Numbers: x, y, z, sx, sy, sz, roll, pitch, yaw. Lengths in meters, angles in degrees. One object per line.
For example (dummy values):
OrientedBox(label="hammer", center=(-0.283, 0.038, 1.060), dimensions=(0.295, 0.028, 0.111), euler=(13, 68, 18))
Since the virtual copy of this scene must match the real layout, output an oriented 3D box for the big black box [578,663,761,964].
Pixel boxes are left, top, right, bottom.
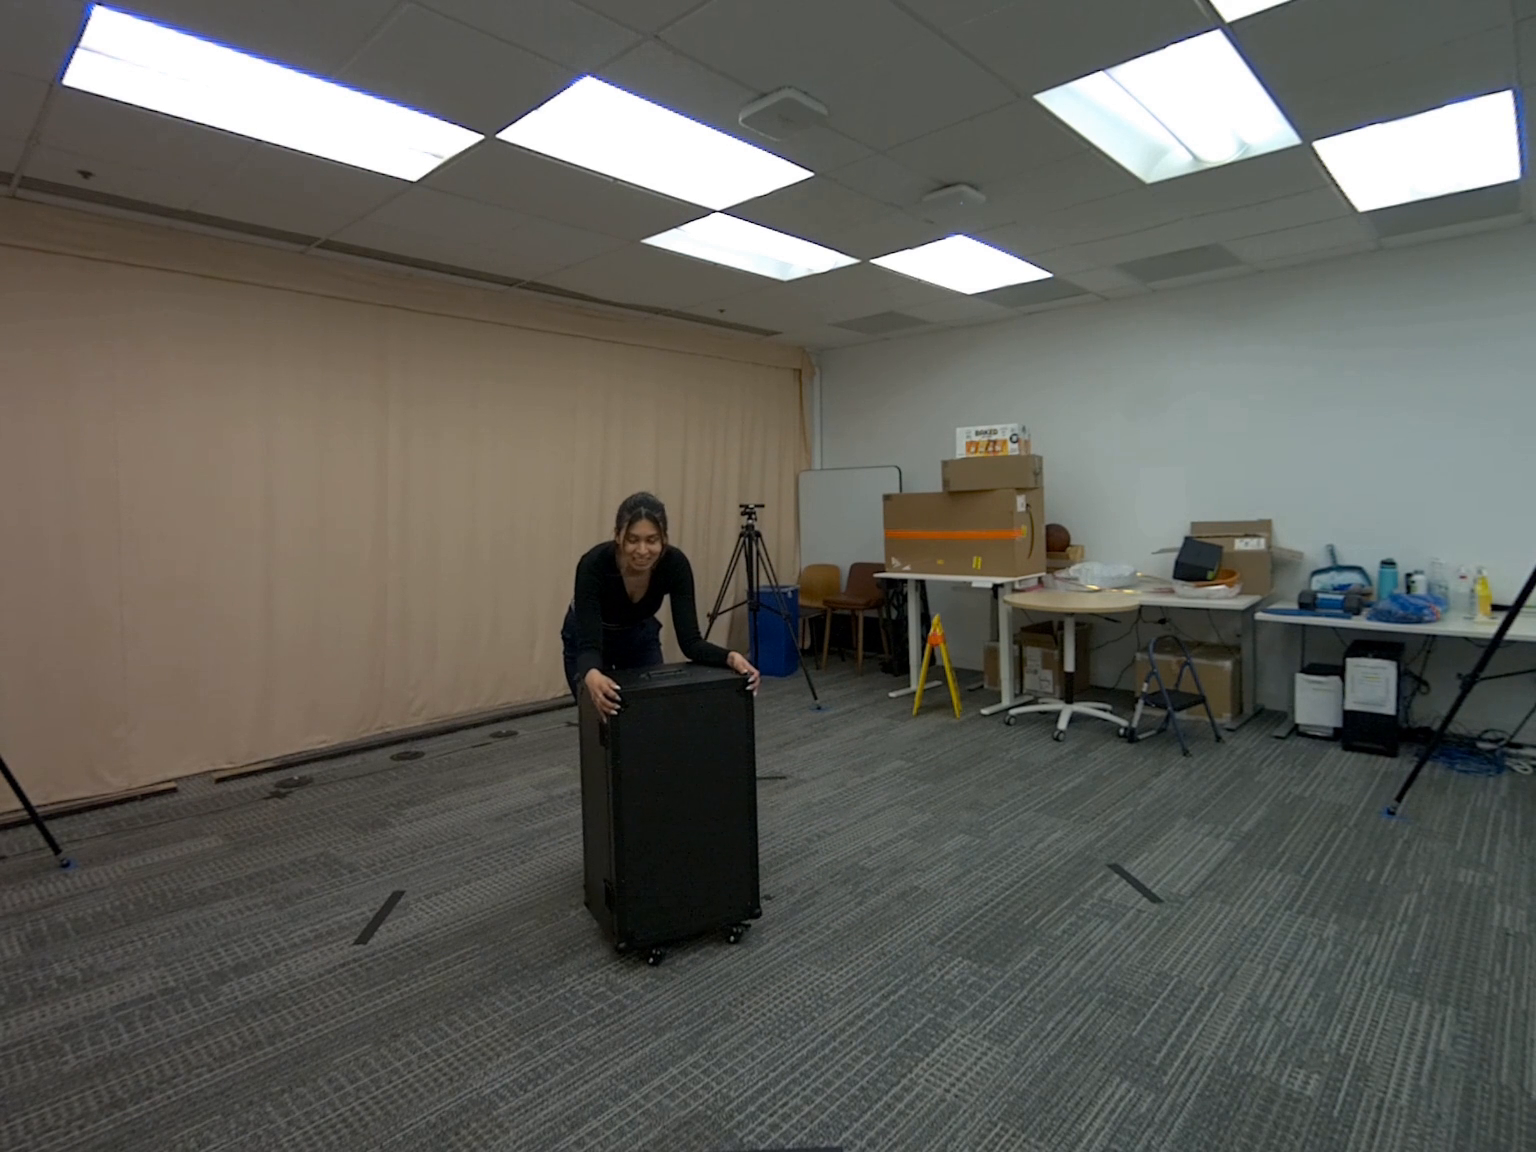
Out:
OrientedBox(label="big black box", center=(-0.330, 0.743, 2.740), dimensions=(0.509, 0.860, 0.406), euler=(-3, 2, -26))
